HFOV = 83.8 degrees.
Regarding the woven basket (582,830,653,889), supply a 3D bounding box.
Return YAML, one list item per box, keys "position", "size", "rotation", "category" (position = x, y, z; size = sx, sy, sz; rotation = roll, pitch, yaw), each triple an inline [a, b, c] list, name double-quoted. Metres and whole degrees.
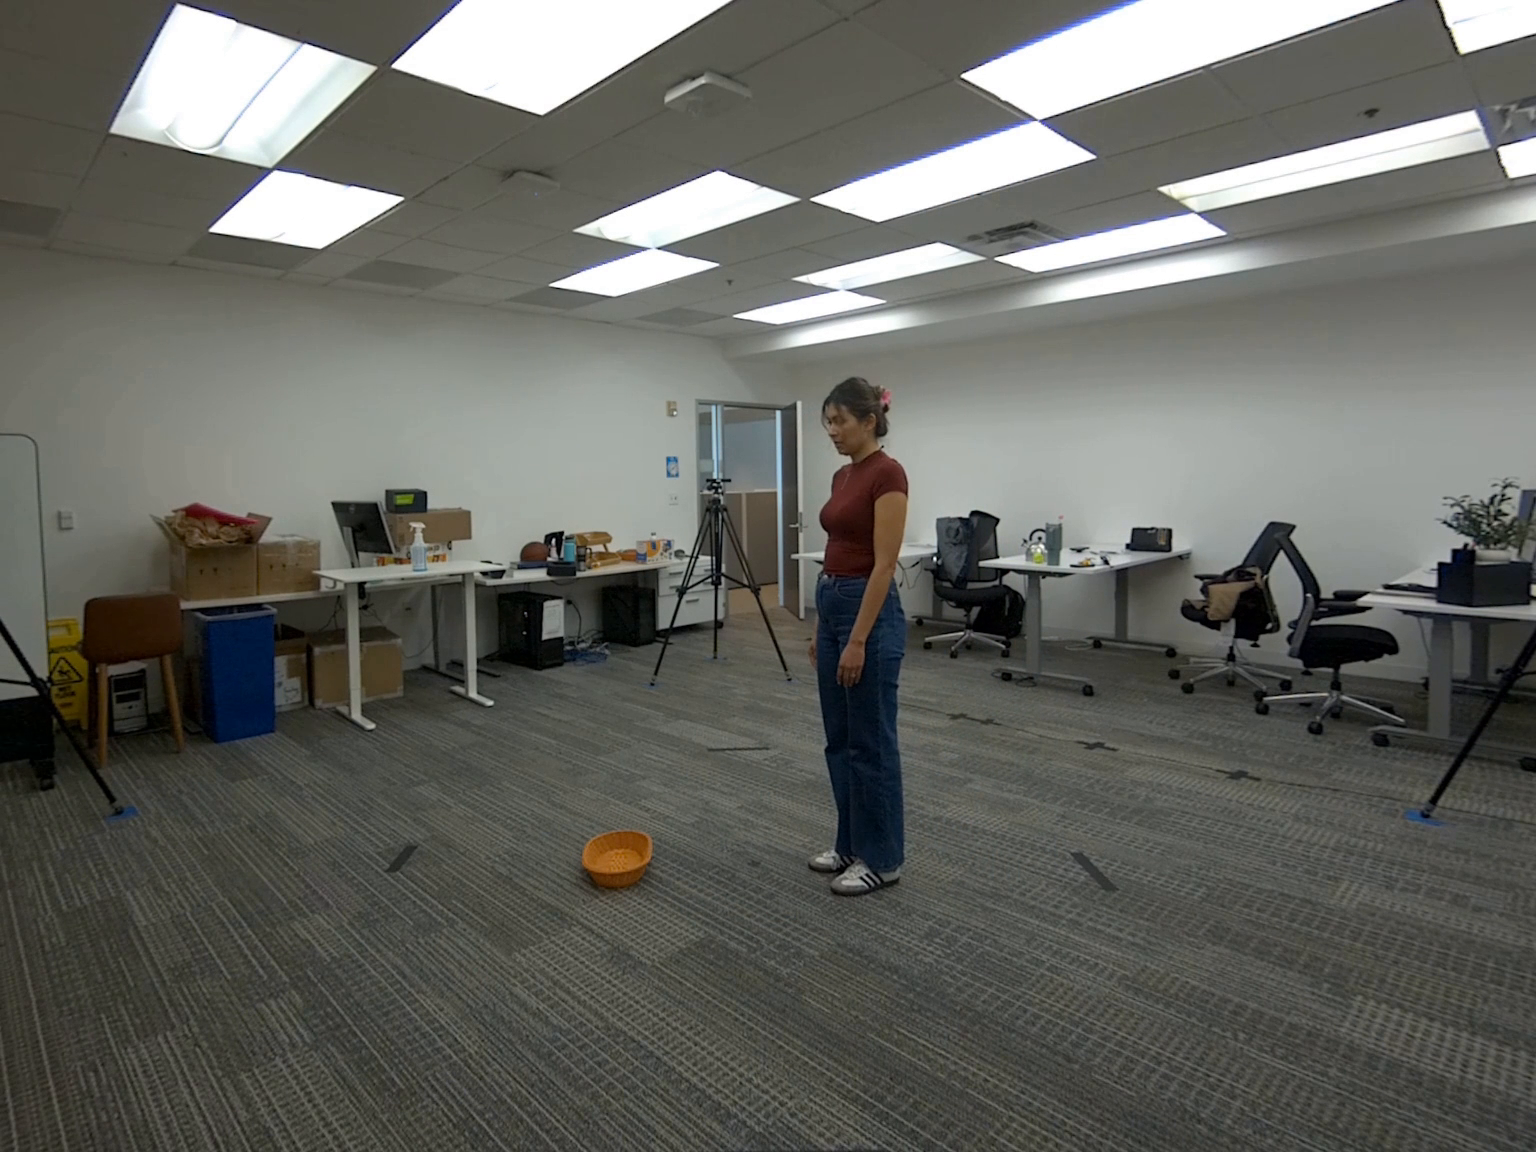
- position: [-0.535, 1.015, 3.073]
  size: [0.251, 0.073, 0.354]
  rotation: [-3, 7, -6]
  category: "woven basket"
